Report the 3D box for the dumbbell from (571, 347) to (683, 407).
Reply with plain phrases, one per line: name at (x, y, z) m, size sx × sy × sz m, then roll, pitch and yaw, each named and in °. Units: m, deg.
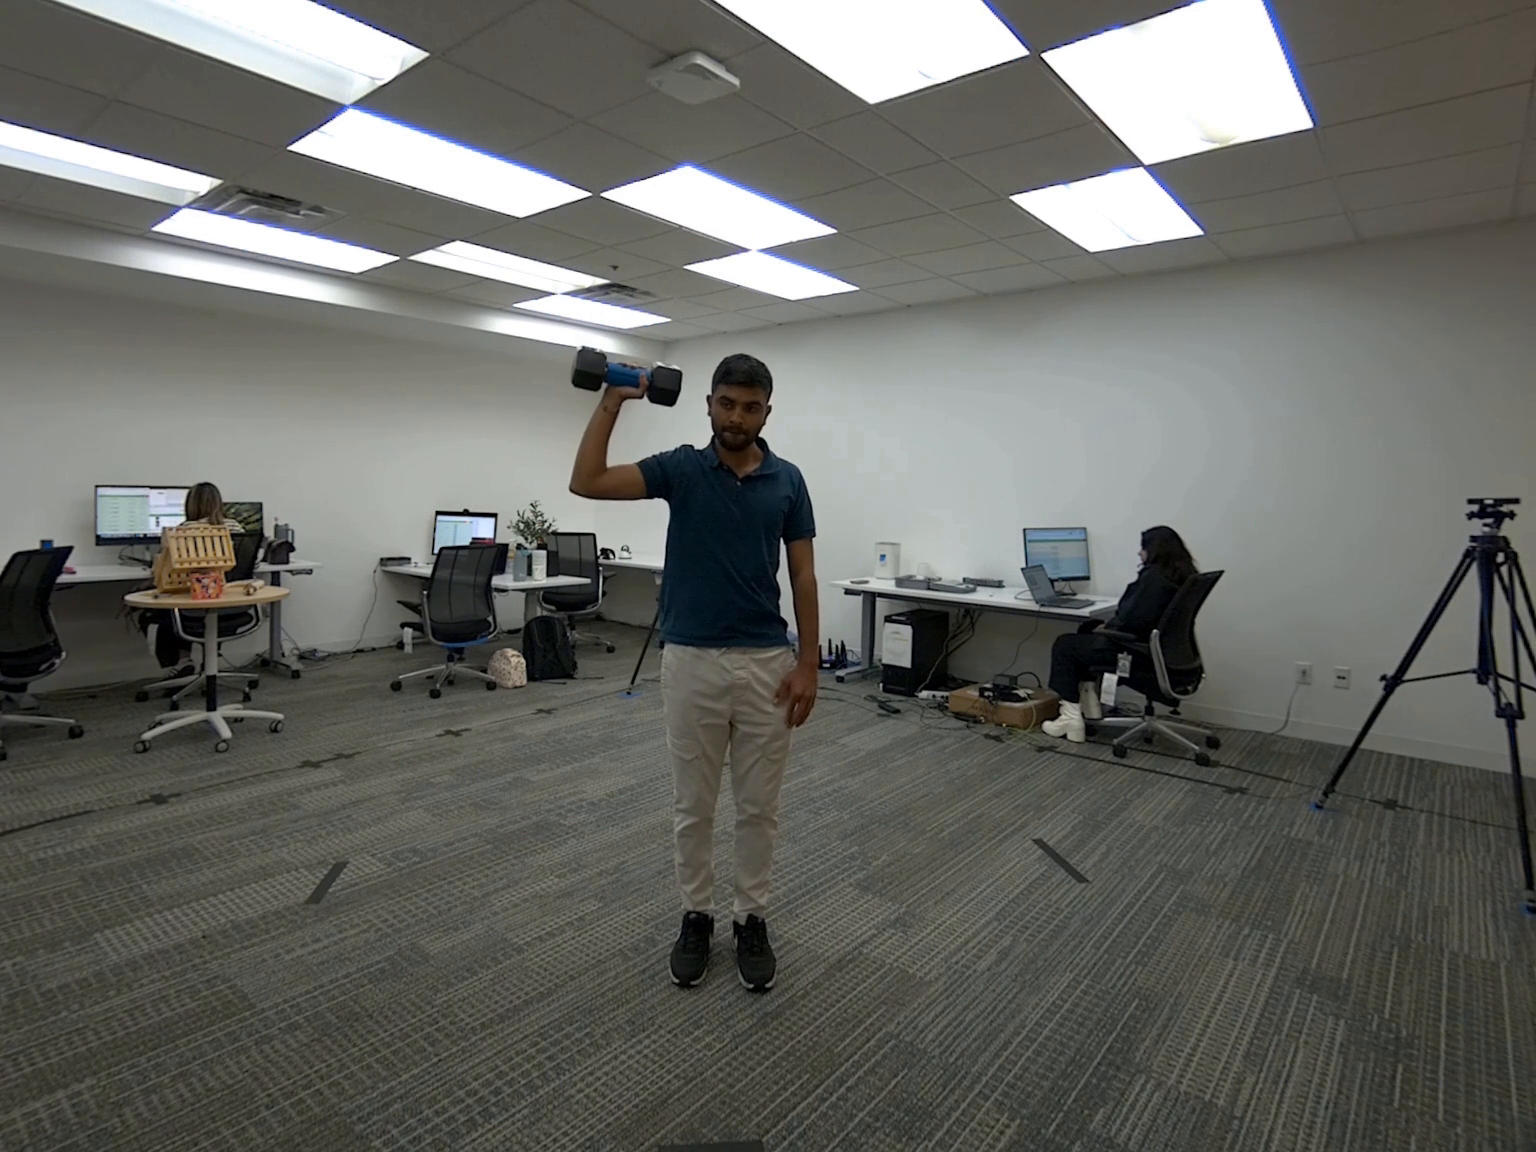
dumbbell at (-0.389, -0.555, 2.326) m, size 0.288 × 0.107 × 0.127 m, roll 9°, pitch 19°, yaw -16°
